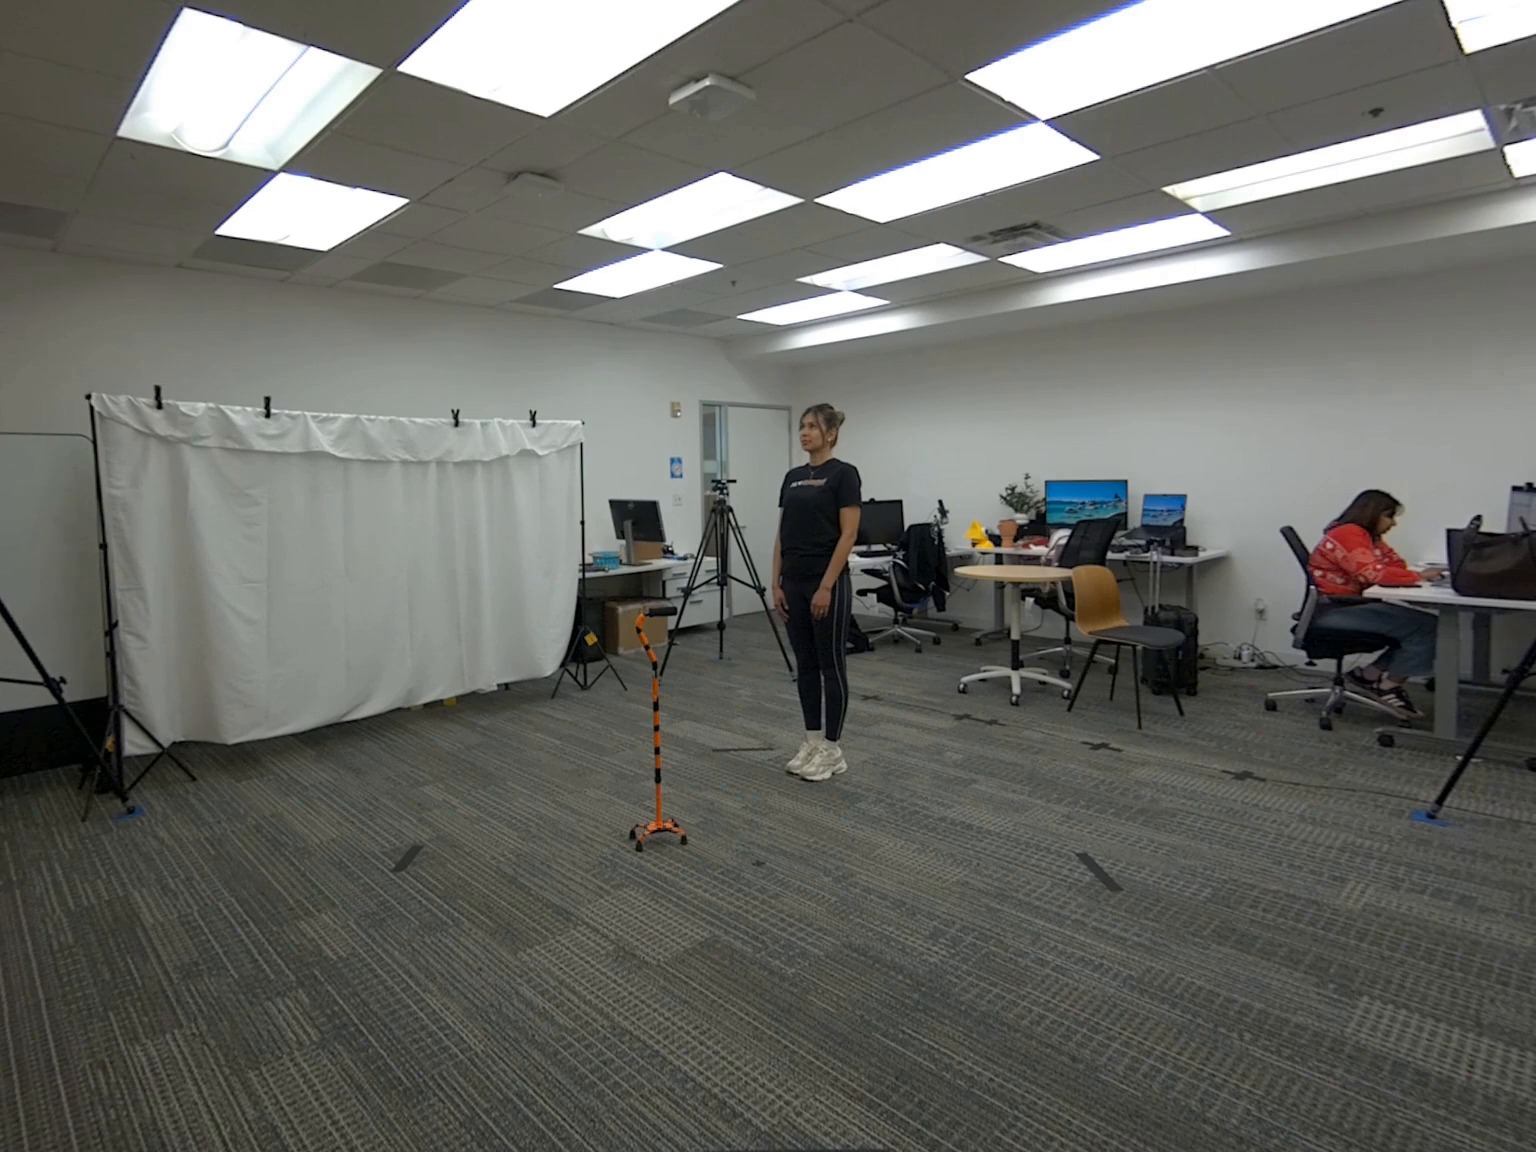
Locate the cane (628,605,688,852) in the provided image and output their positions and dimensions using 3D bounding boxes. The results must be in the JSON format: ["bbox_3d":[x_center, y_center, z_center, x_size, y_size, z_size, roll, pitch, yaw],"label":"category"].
[{"bbox_3d":[-0.434,0.580,3.297,0.203,0.904,0.154,-2,4,-16],"label":"cane"}]
